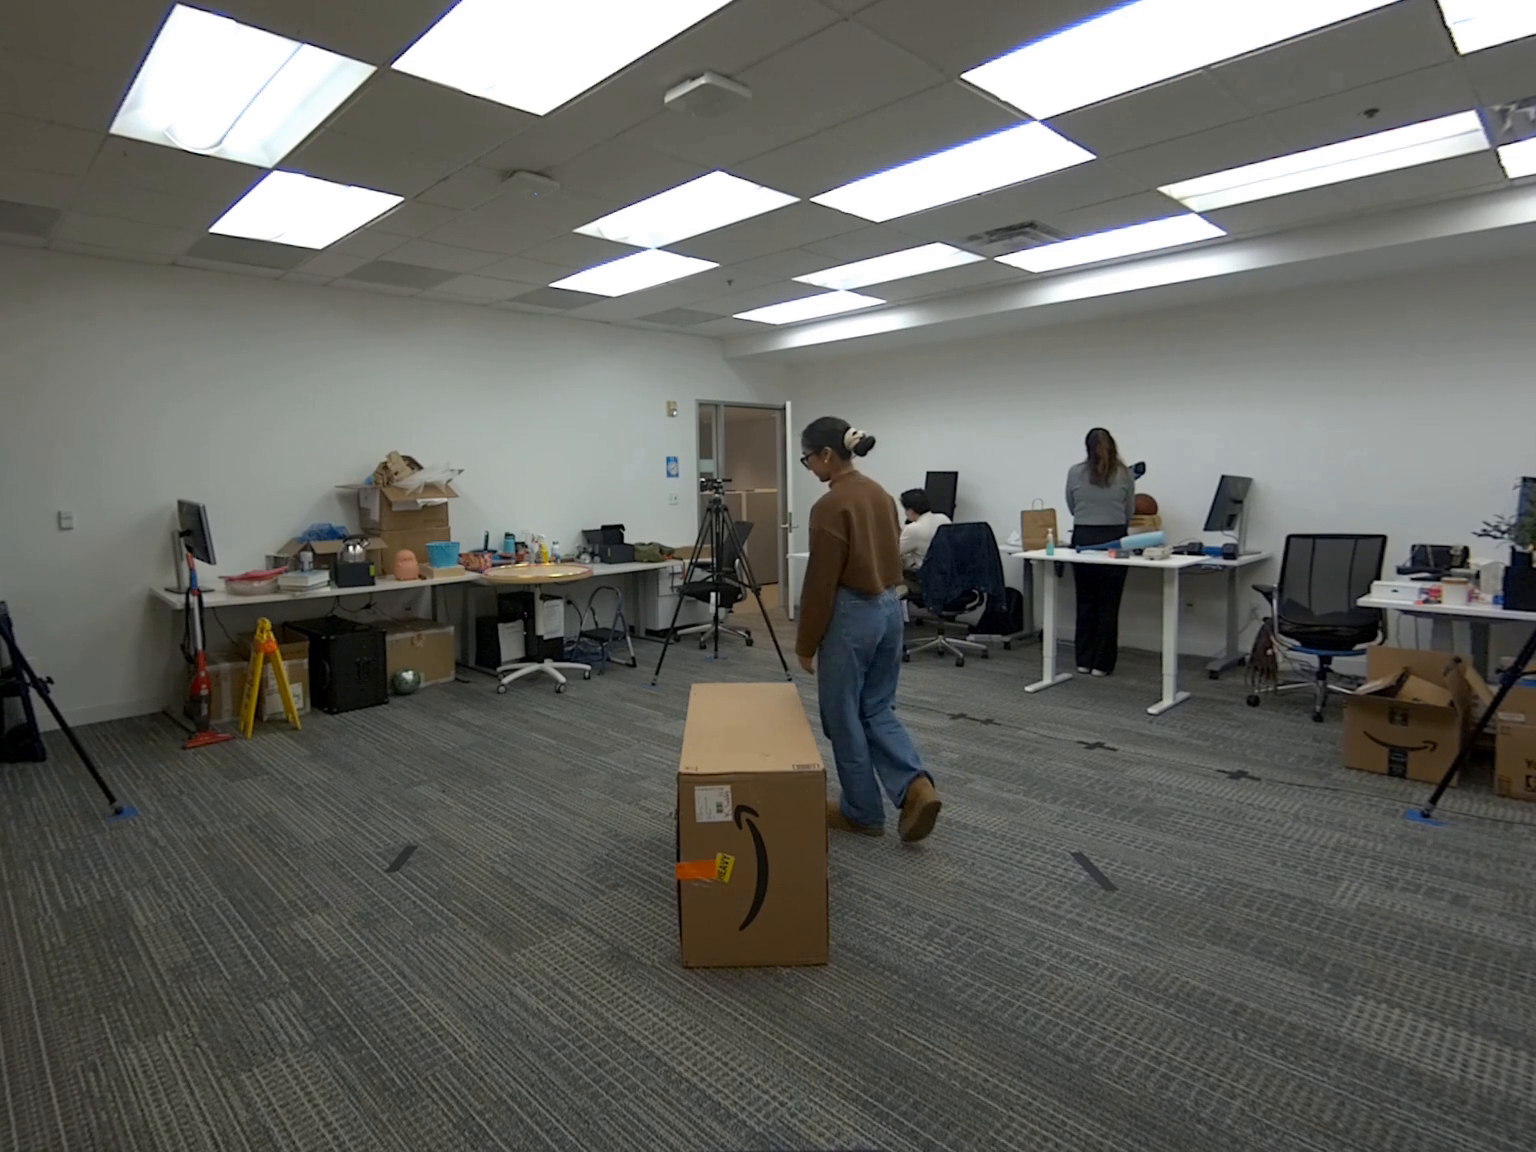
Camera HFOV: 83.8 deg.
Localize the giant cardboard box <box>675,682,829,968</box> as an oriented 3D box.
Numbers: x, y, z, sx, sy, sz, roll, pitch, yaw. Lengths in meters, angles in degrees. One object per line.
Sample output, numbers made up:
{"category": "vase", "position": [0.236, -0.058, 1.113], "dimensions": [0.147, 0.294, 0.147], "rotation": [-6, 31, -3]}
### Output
{"category": "giant cardboard box", "position": [-0.072, 0.775, 2.937], "dimensions": [0.425, 0.575, 1.032], "rotation": [-1, 6, -3]}
